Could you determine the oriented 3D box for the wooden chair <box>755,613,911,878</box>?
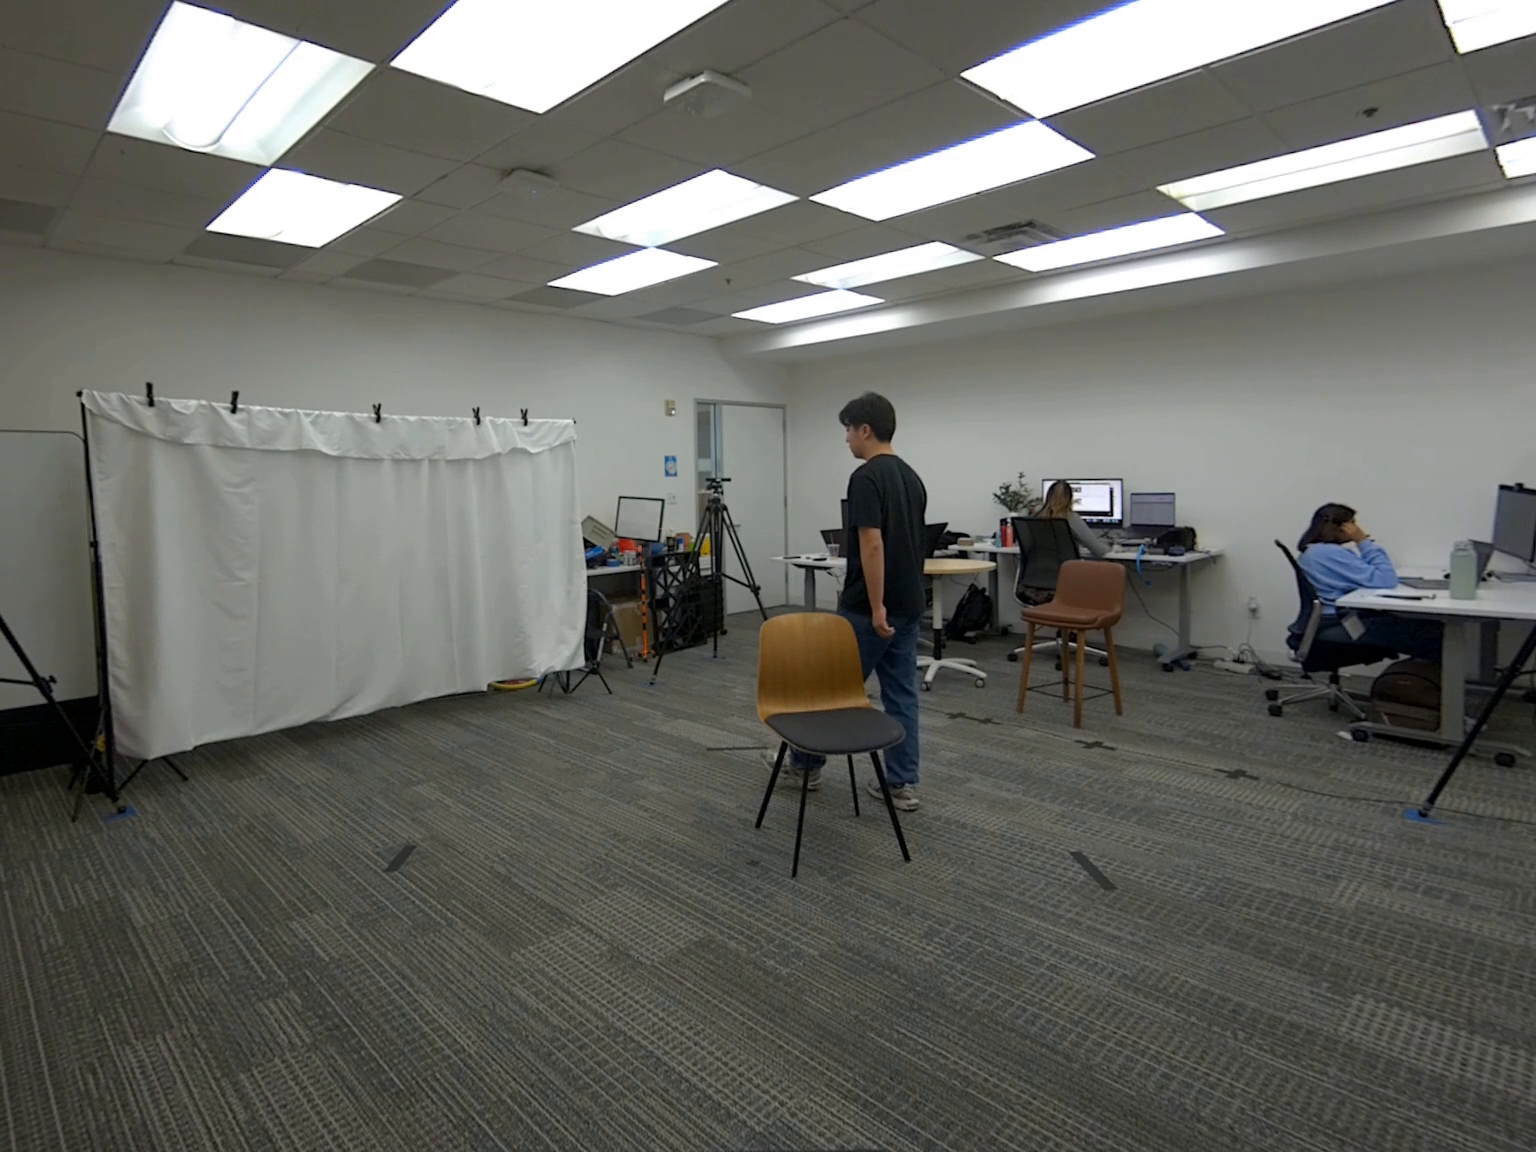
[{"bbox_3d":[0.226,0.599,3.217,0.471,0.877,0.531,-2,0,-16],"label":"wooden chair"}]
